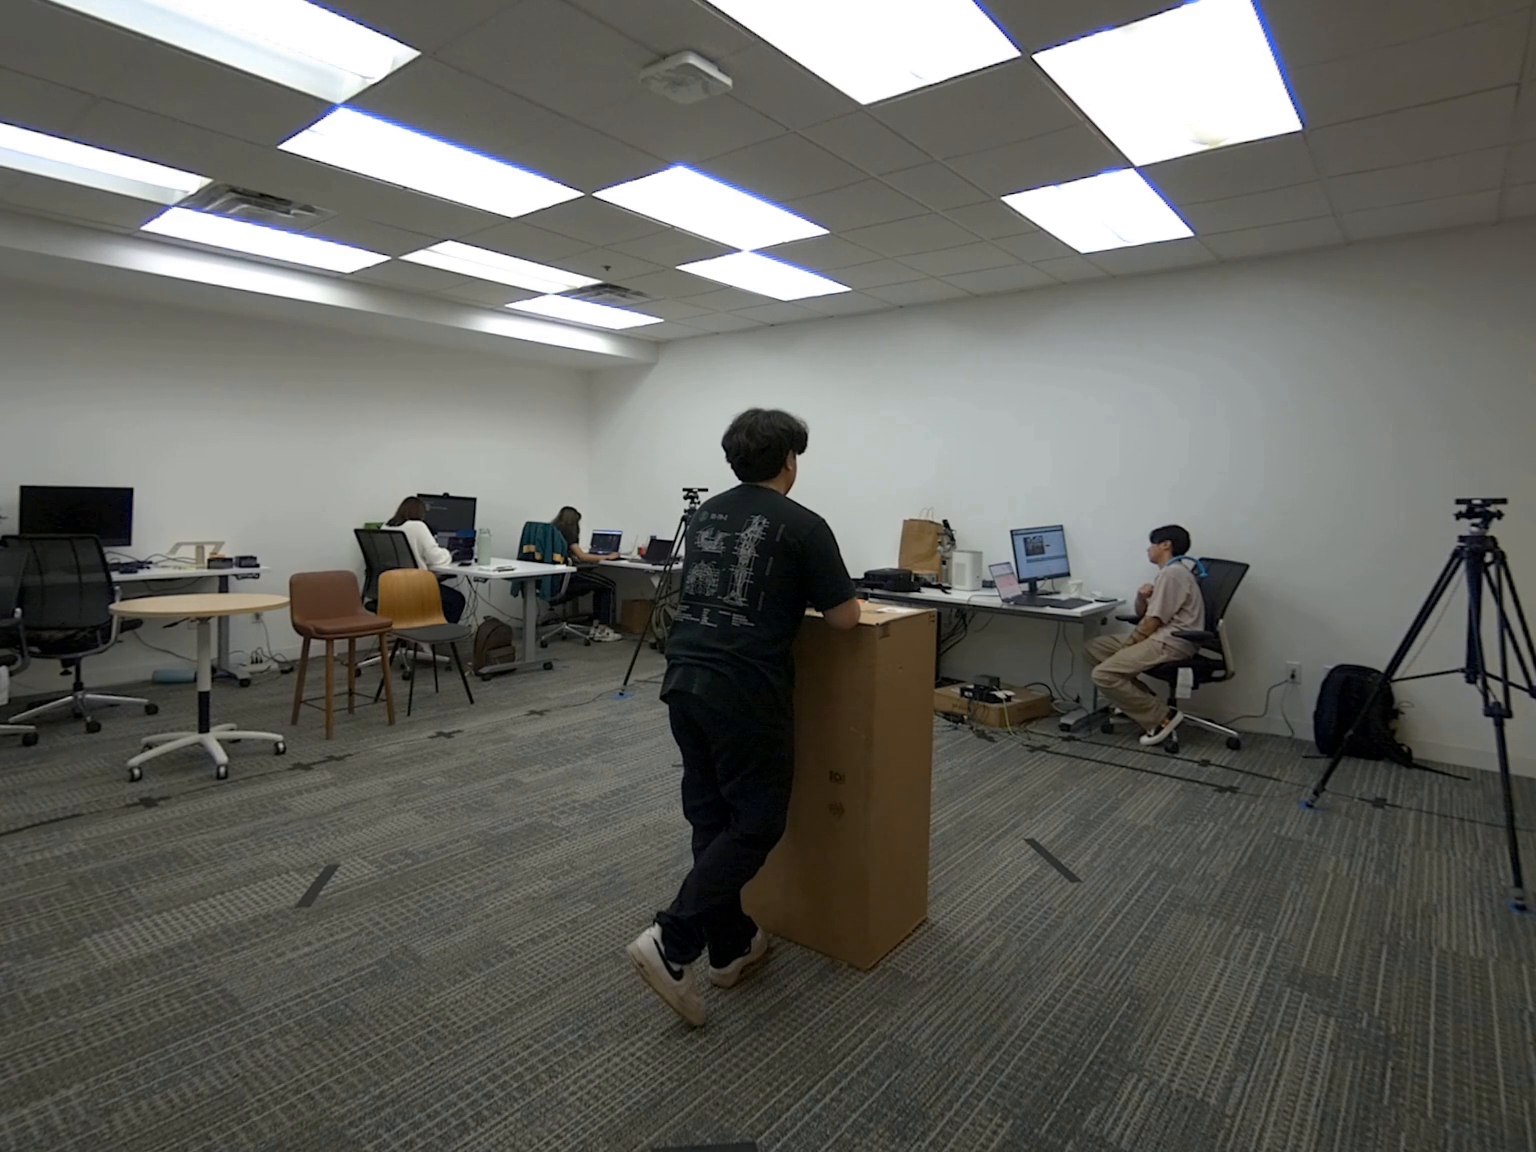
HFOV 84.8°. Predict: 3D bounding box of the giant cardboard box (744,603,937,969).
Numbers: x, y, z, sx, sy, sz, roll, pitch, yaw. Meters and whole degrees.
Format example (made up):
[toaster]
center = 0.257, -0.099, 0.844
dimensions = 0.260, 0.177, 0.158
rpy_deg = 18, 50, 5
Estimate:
[giant cardboard box]
center = 0.180, 0.600, 2.782
dimensions = 0.603, 1.025, 0.433
rpy_deg = 4, 3, 37
